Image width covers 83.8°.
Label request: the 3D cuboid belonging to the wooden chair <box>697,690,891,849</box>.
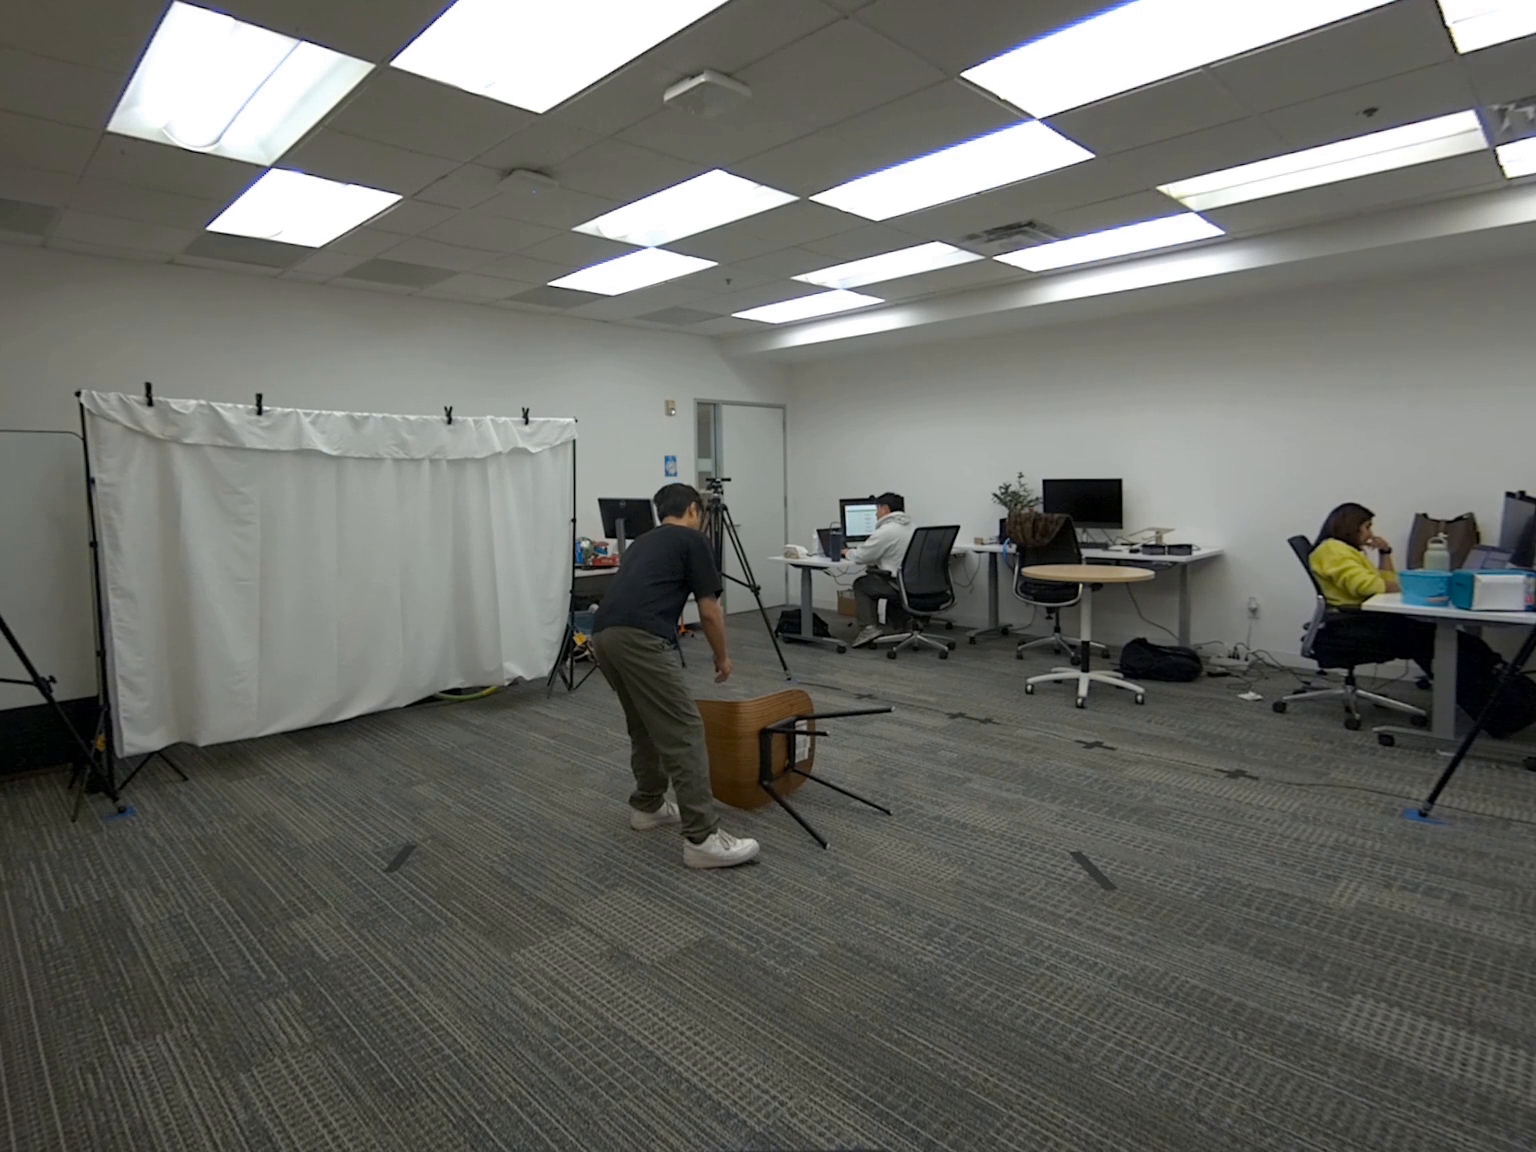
[{"bbox_3d":[0.046,0.747,3.647,0.904,0.476,0.510,4,8,38],"label":"wooden chair"}]
